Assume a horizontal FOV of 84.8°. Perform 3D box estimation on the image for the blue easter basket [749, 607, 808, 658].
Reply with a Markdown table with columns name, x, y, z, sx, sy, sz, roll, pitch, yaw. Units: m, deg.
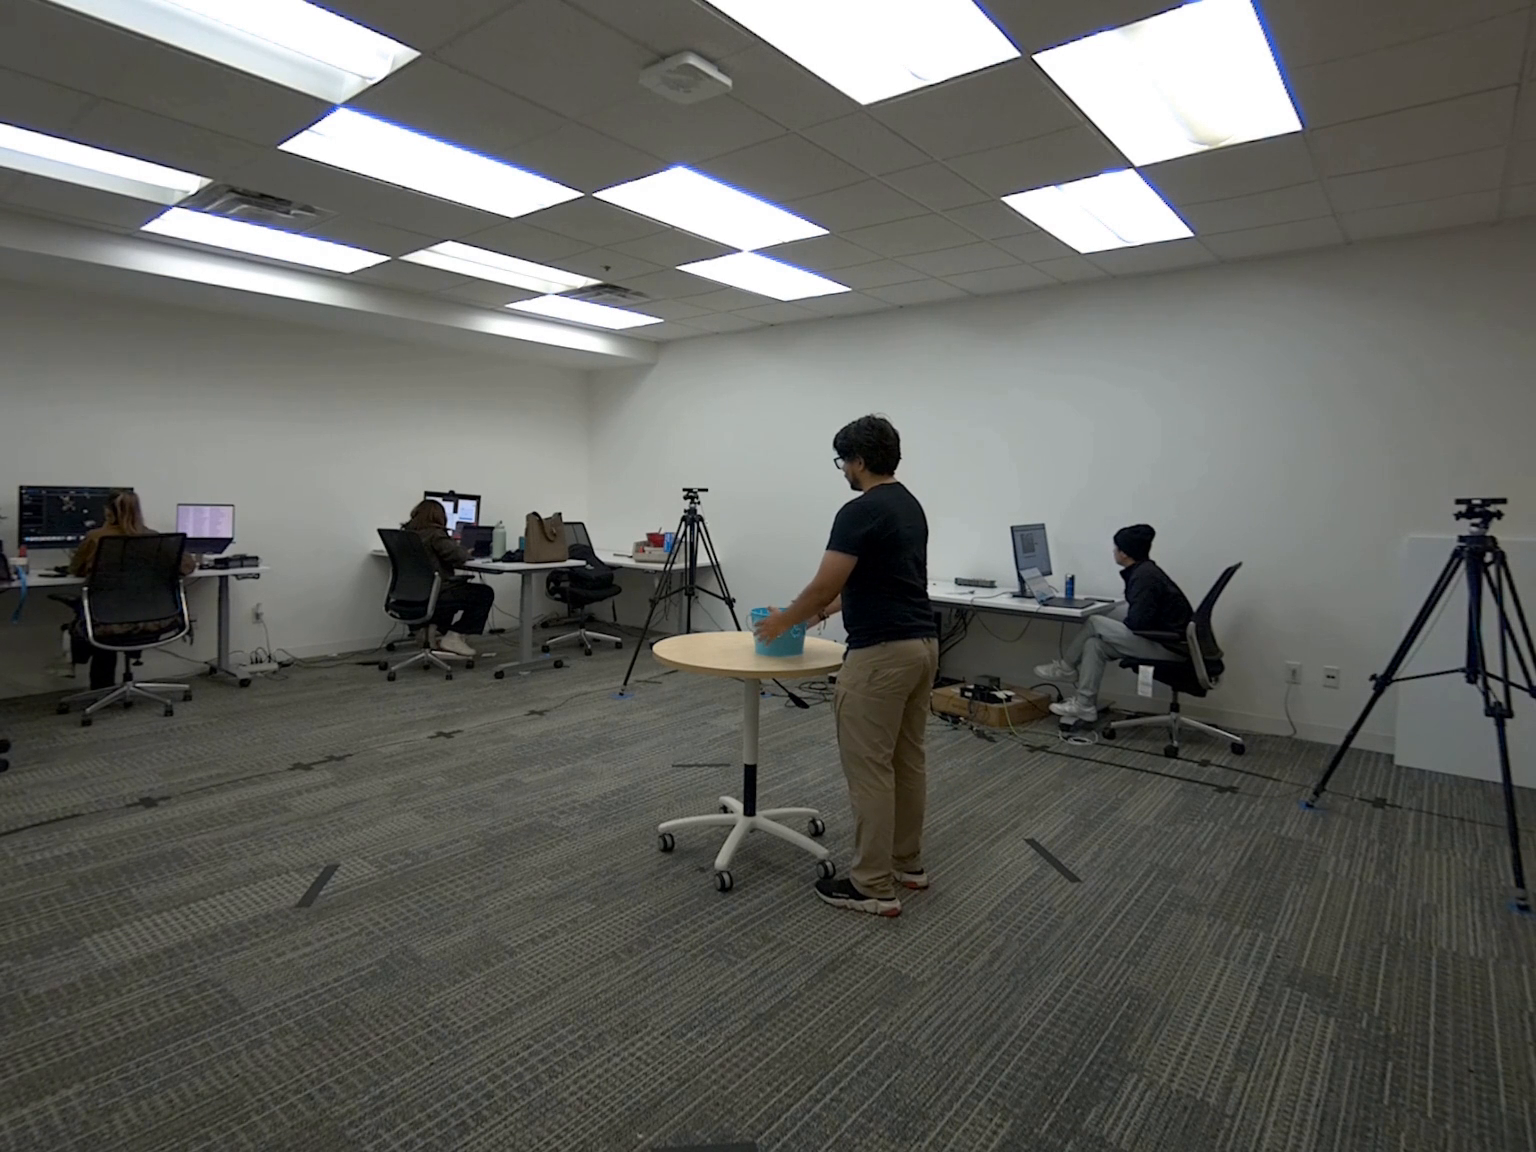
| name | x | y | z | sx | sy | sz | roll | pitch | yaw |
| --- | --- | --- | --- | --- | --- | --- | --- | --- | --- |
| blue easter basket | 0.039 | 0.207 | 3.217 | 0.243 | 0.155 | 0.245 | 3 | 5 | -2 |
